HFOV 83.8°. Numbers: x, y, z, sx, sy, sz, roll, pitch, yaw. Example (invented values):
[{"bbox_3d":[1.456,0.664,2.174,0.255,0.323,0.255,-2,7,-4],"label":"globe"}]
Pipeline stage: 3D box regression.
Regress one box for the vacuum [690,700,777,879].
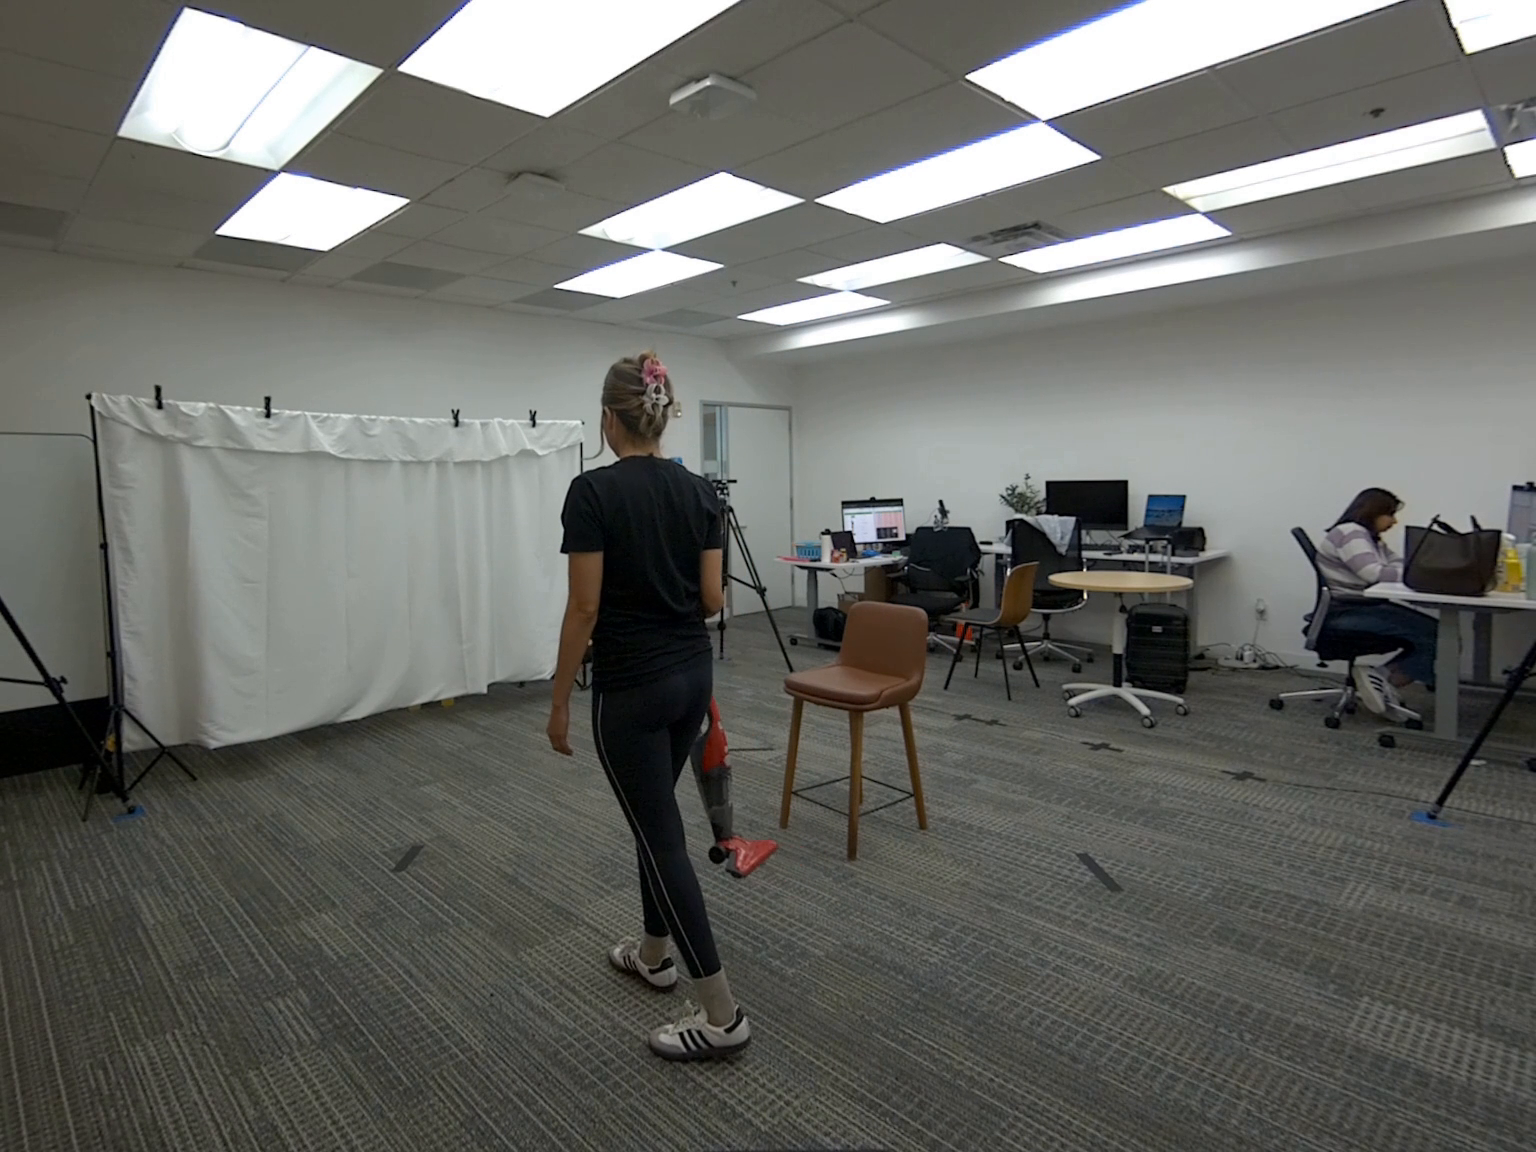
[{"bbox_3d":[-0.221,0.331,2.589,0.146,1.060,0.246,-21,-10,30],"label":"vacuum"}]
